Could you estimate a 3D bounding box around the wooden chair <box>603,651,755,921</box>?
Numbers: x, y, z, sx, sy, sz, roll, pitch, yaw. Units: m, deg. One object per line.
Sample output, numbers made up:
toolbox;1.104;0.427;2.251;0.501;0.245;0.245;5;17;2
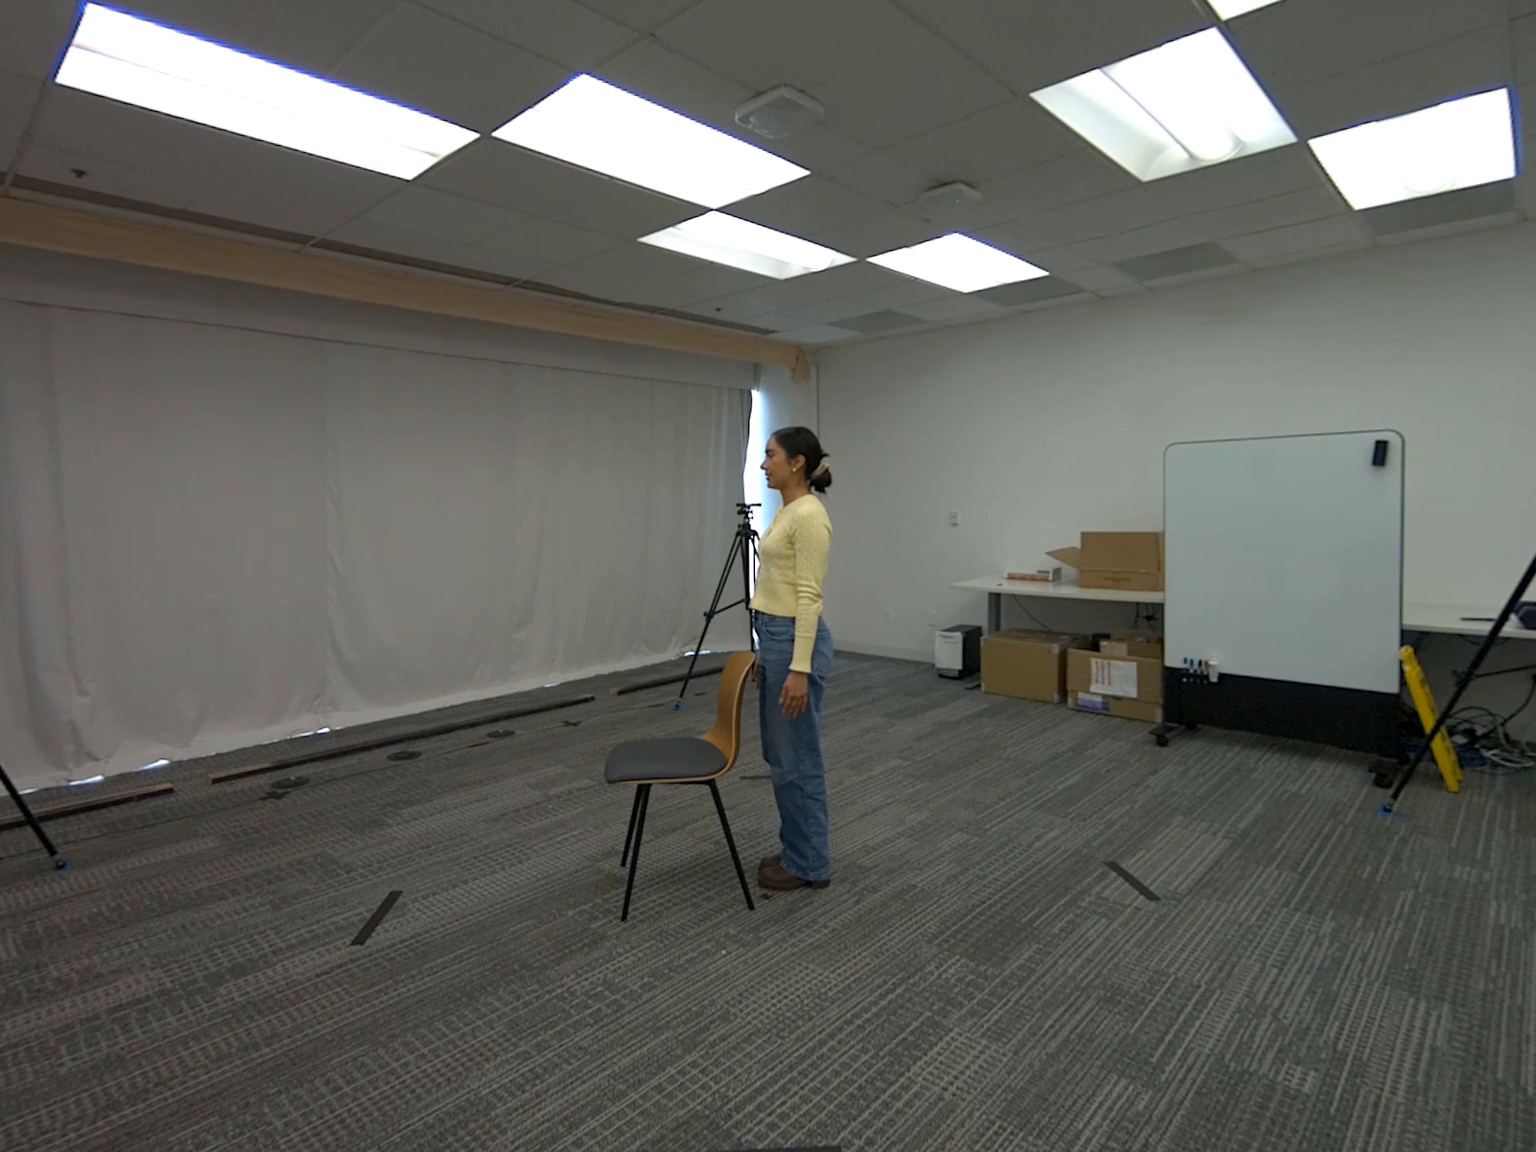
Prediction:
wooden chair;-0.328;0.713;3.045;0.518;0.875;0.484;2;3;-9
